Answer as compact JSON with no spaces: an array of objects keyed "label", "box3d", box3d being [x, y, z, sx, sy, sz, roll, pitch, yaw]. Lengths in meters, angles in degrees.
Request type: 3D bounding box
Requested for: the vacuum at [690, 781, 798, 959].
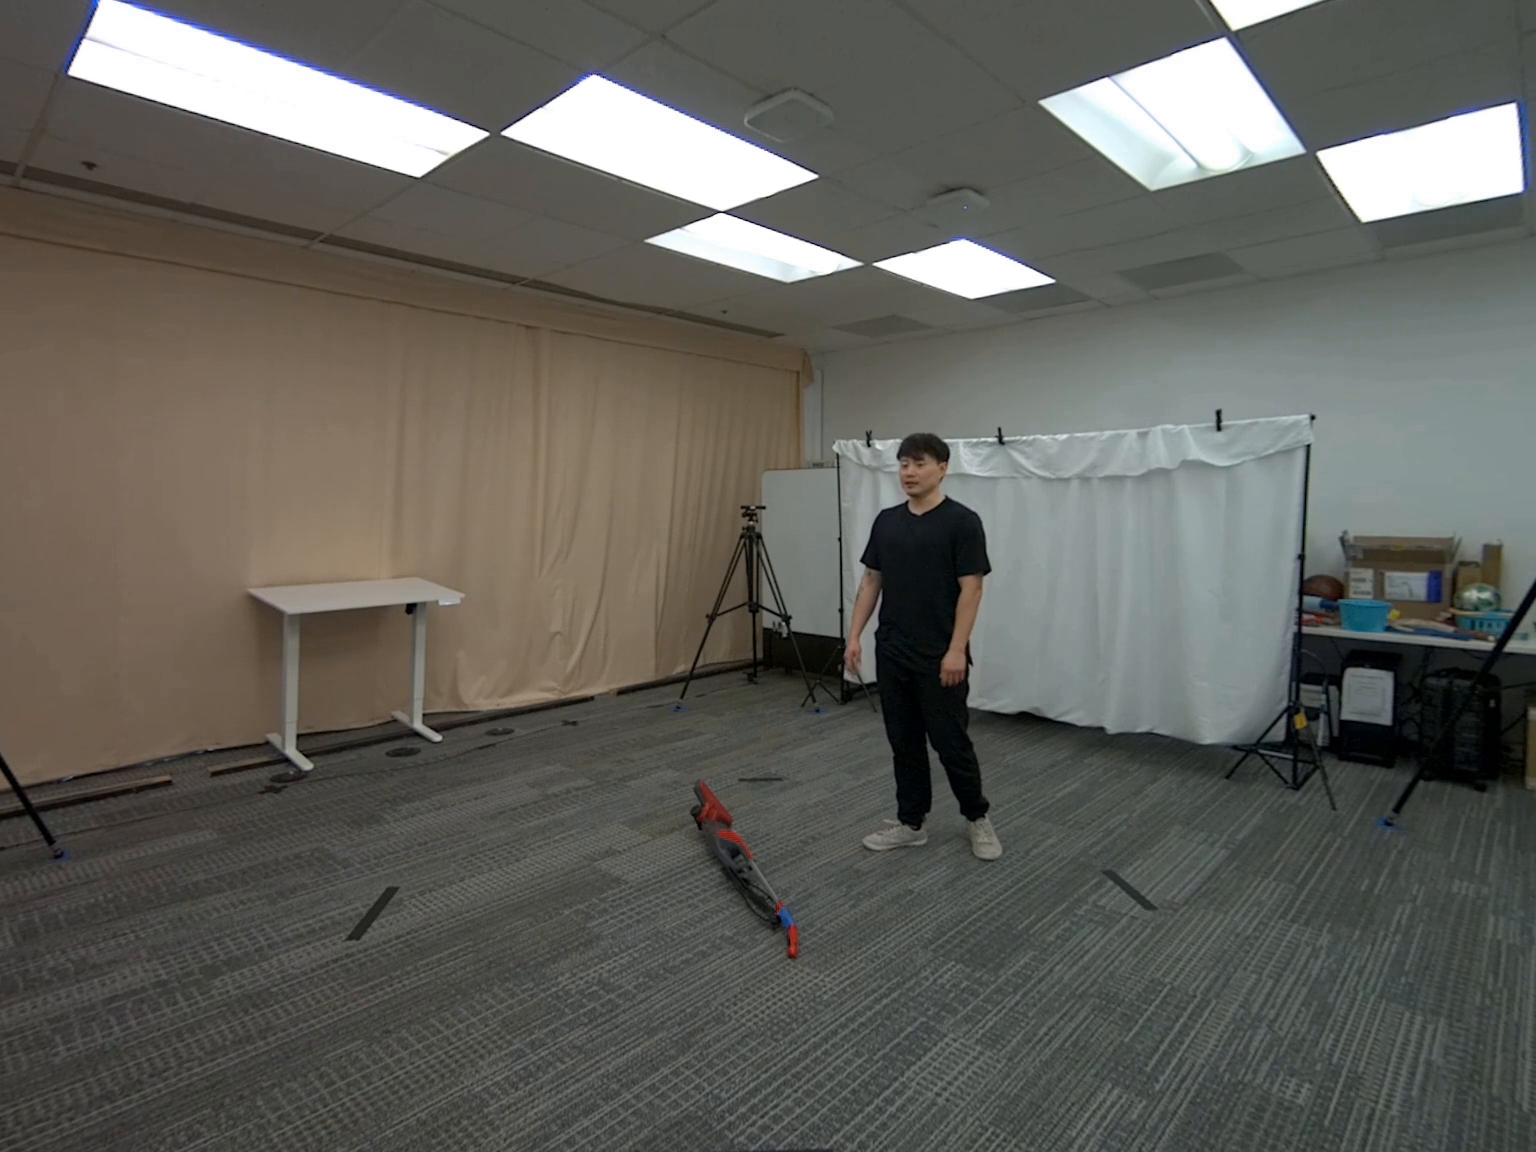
[{"label":"vacuum","box3d":[-0.087,1.084,3.097,0.143,0.248,1.072,-37,18,-8]}]
